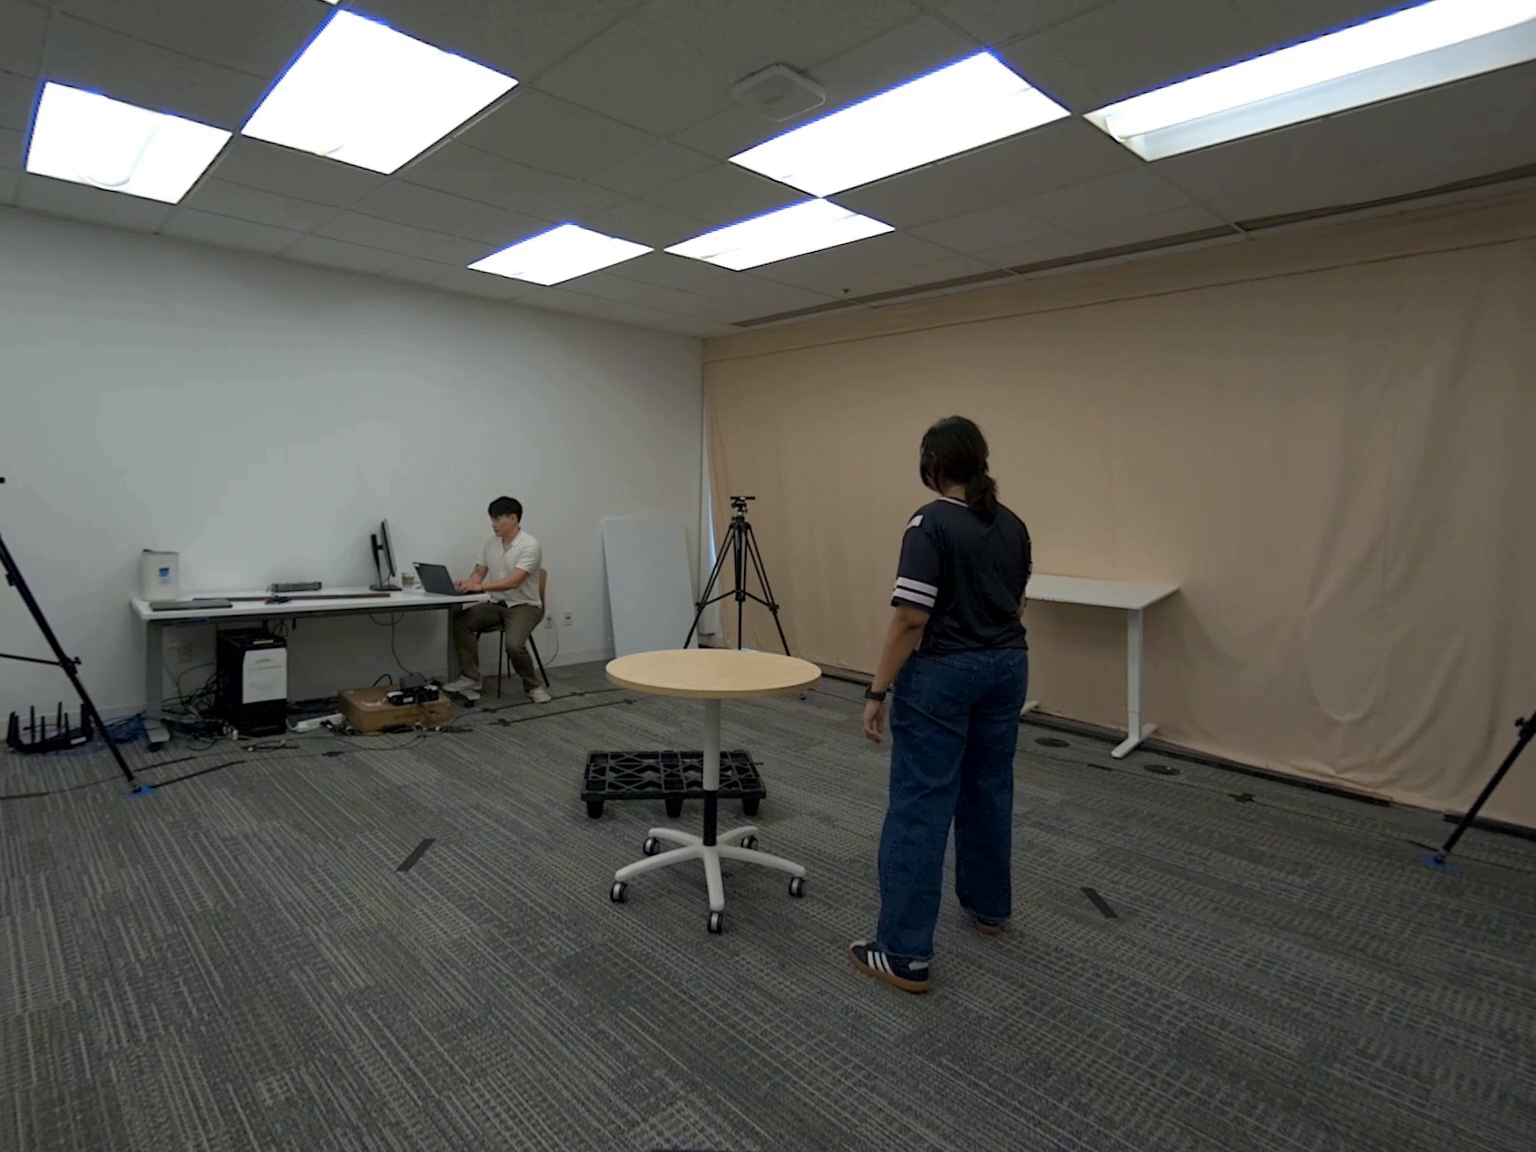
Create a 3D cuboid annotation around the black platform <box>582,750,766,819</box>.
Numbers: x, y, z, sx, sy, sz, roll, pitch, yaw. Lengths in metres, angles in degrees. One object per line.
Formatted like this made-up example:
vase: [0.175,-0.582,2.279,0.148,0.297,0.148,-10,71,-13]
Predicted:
black platform: [-0.450,0.961,3.890,0.801,0.143,0.611,1,6,-8]
